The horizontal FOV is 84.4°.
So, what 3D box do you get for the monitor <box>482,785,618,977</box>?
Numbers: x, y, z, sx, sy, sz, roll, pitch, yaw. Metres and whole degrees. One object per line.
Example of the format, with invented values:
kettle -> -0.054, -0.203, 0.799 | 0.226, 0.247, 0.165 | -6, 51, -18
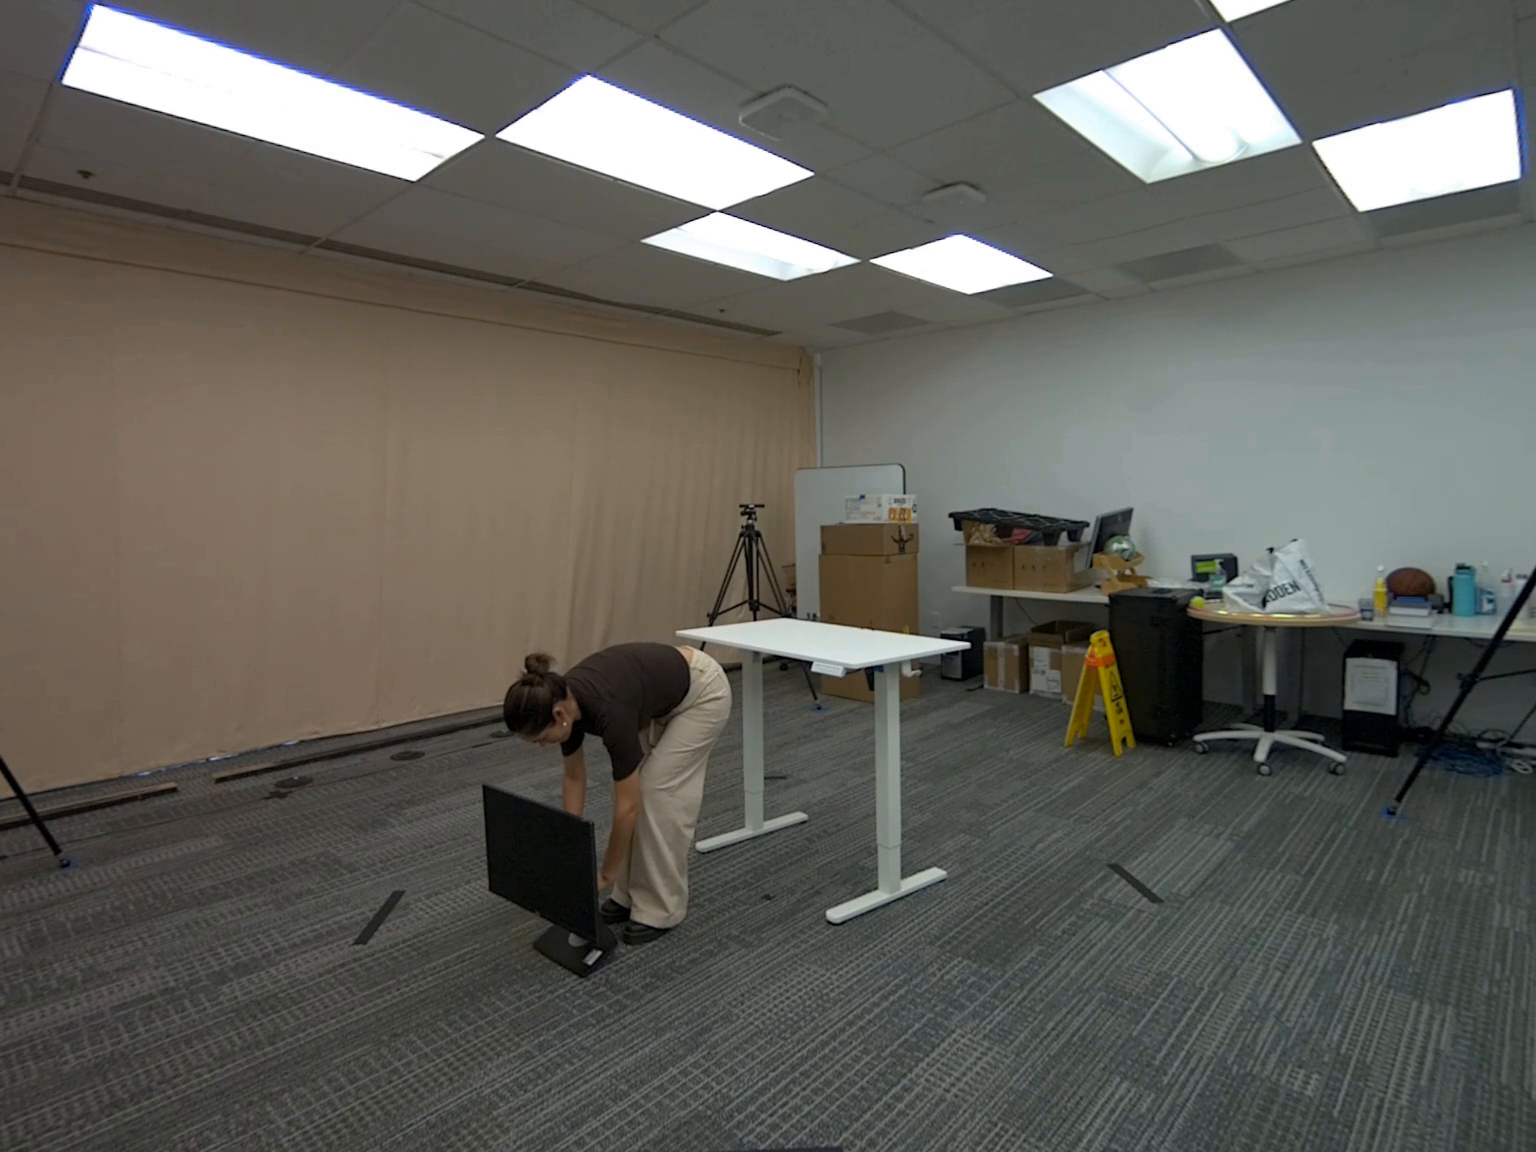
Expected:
monitor -> -0.650, 0.921, 2.578 | 0.556, 0.516, 0.183 | 2, 20, 38
